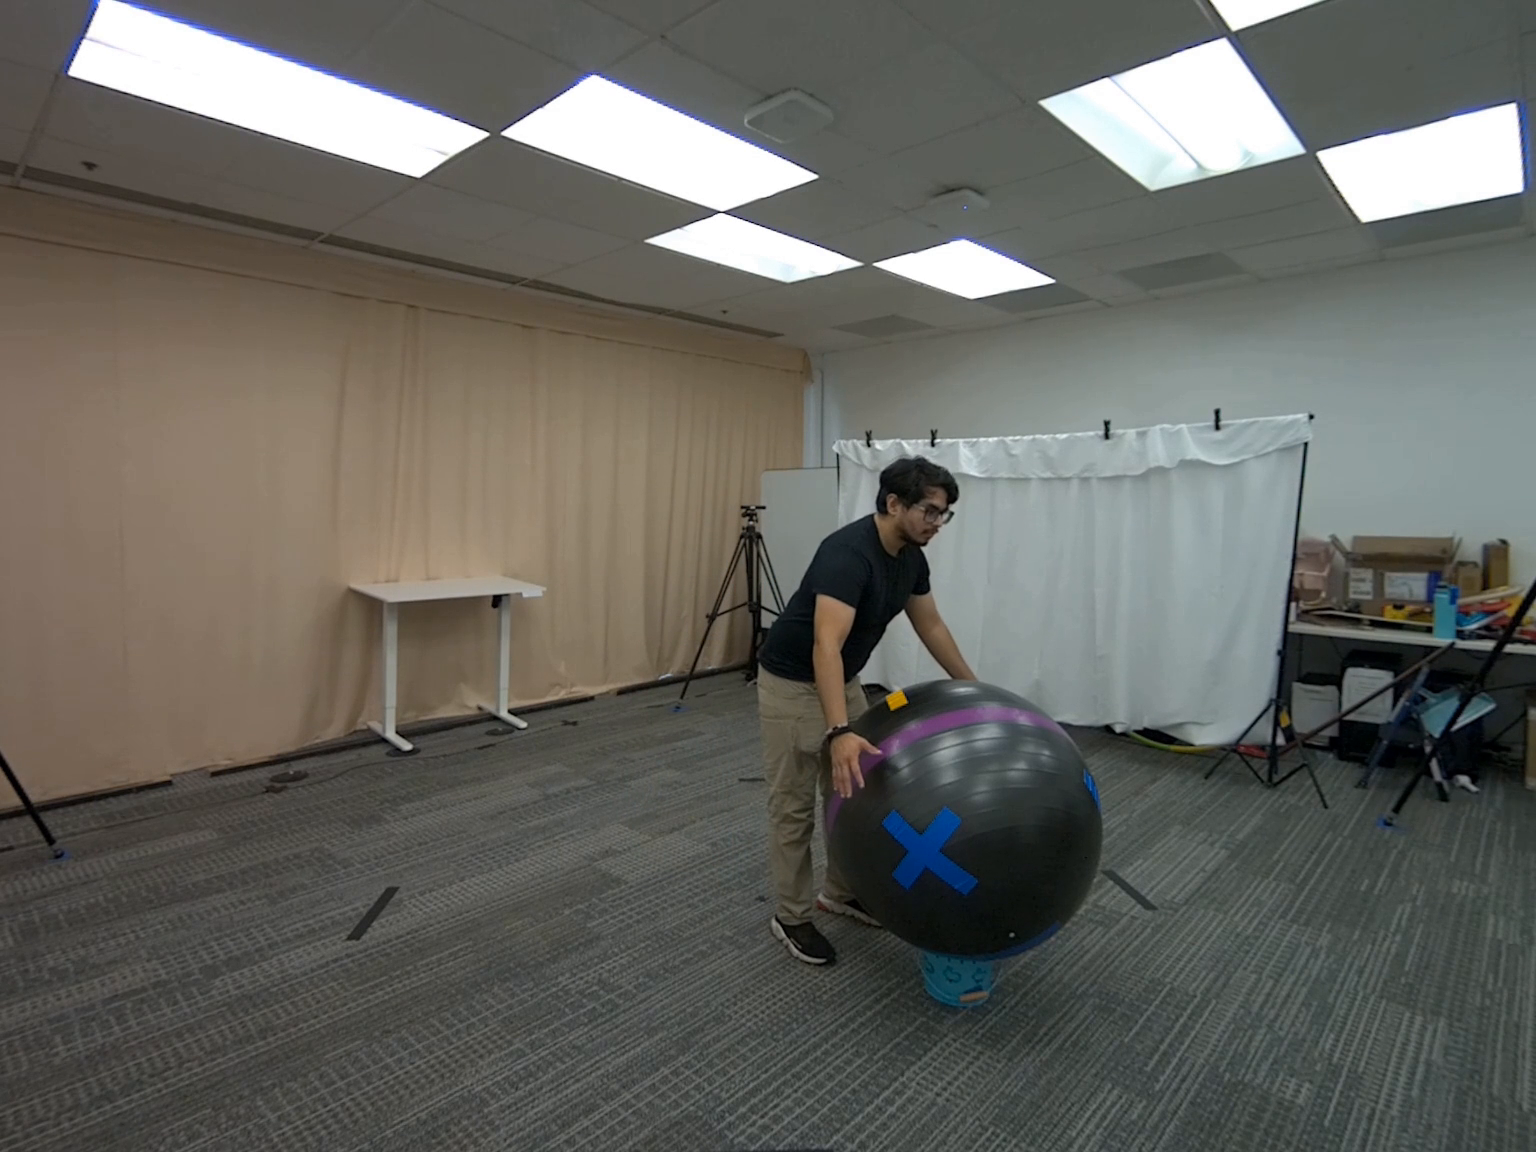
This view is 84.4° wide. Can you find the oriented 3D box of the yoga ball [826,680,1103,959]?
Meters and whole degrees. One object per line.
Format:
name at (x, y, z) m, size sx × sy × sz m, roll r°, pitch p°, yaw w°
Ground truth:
yoga ball at (0.554, 0.684, 2.400) m, size 0.757 × 0.756 × 0.760 m, roll 0°, pitch 4°, yaw -2°
